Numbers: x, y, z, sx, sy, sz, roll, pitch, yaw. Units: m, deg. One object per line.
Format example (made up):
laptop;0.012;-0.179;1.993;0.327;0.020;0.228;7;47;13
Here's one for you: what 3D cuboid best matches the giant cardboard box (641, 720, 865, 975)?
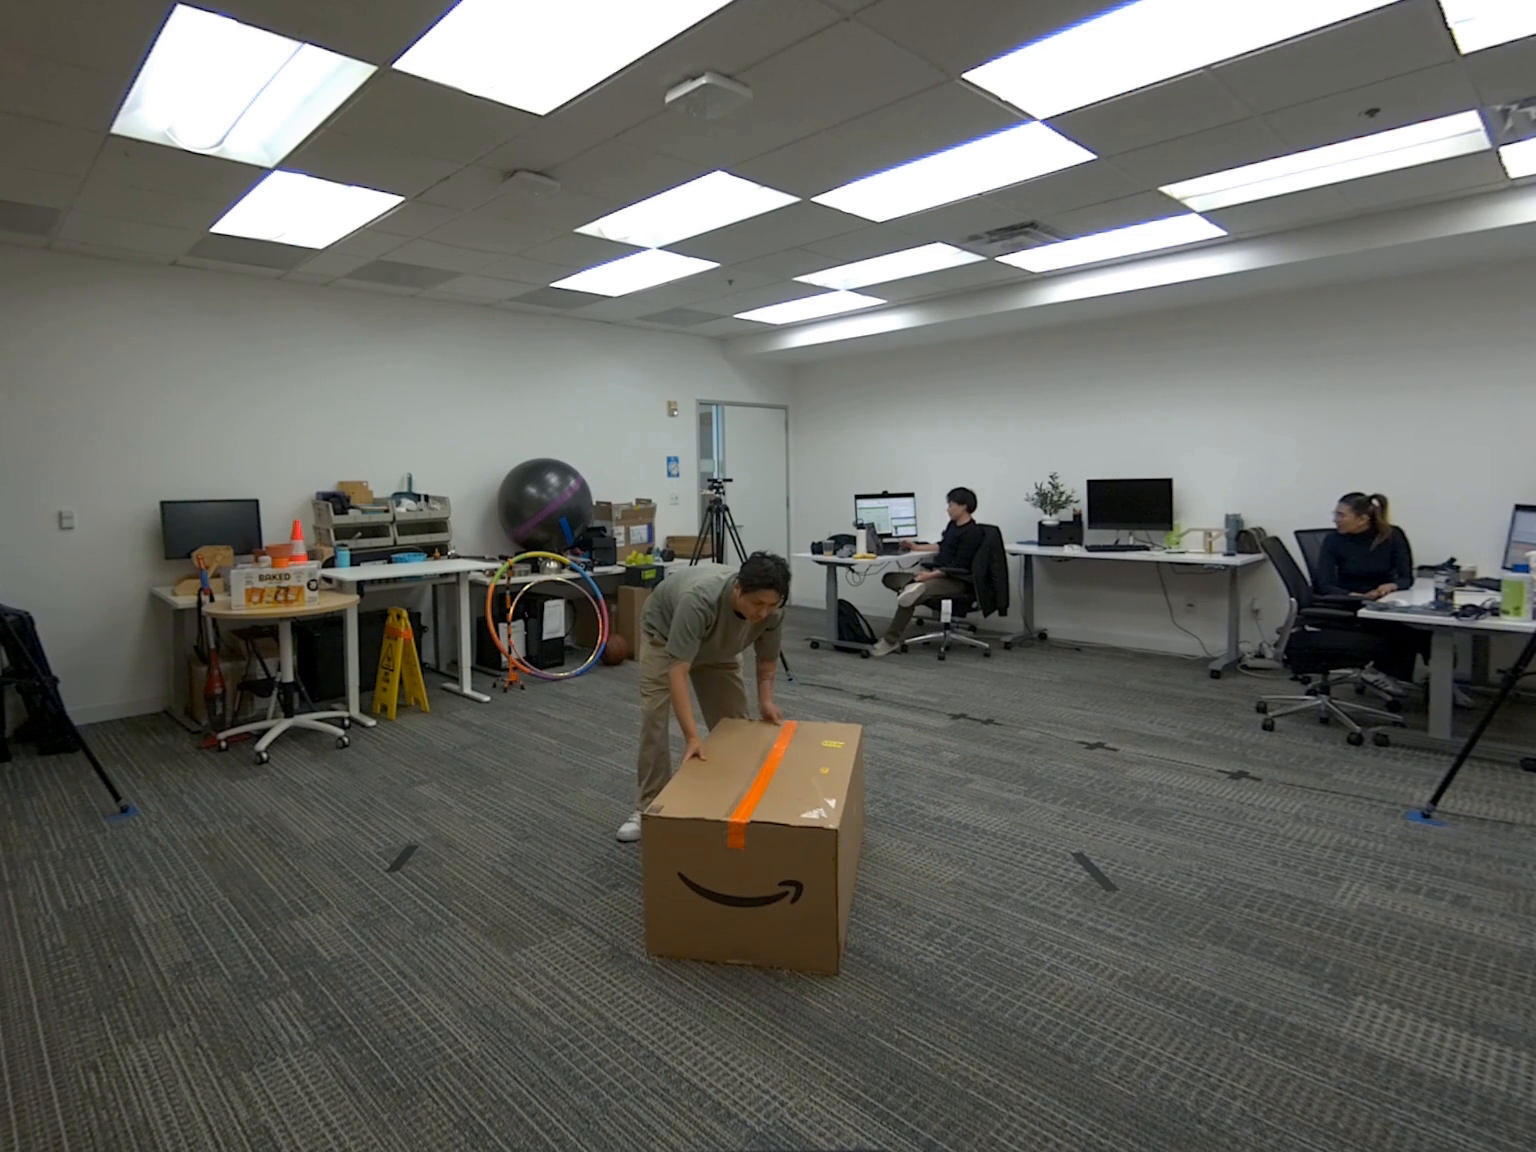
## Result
giant cardboard box;0.008;0.846;2.936;0.584;0.424;1.018;-1;6;11
